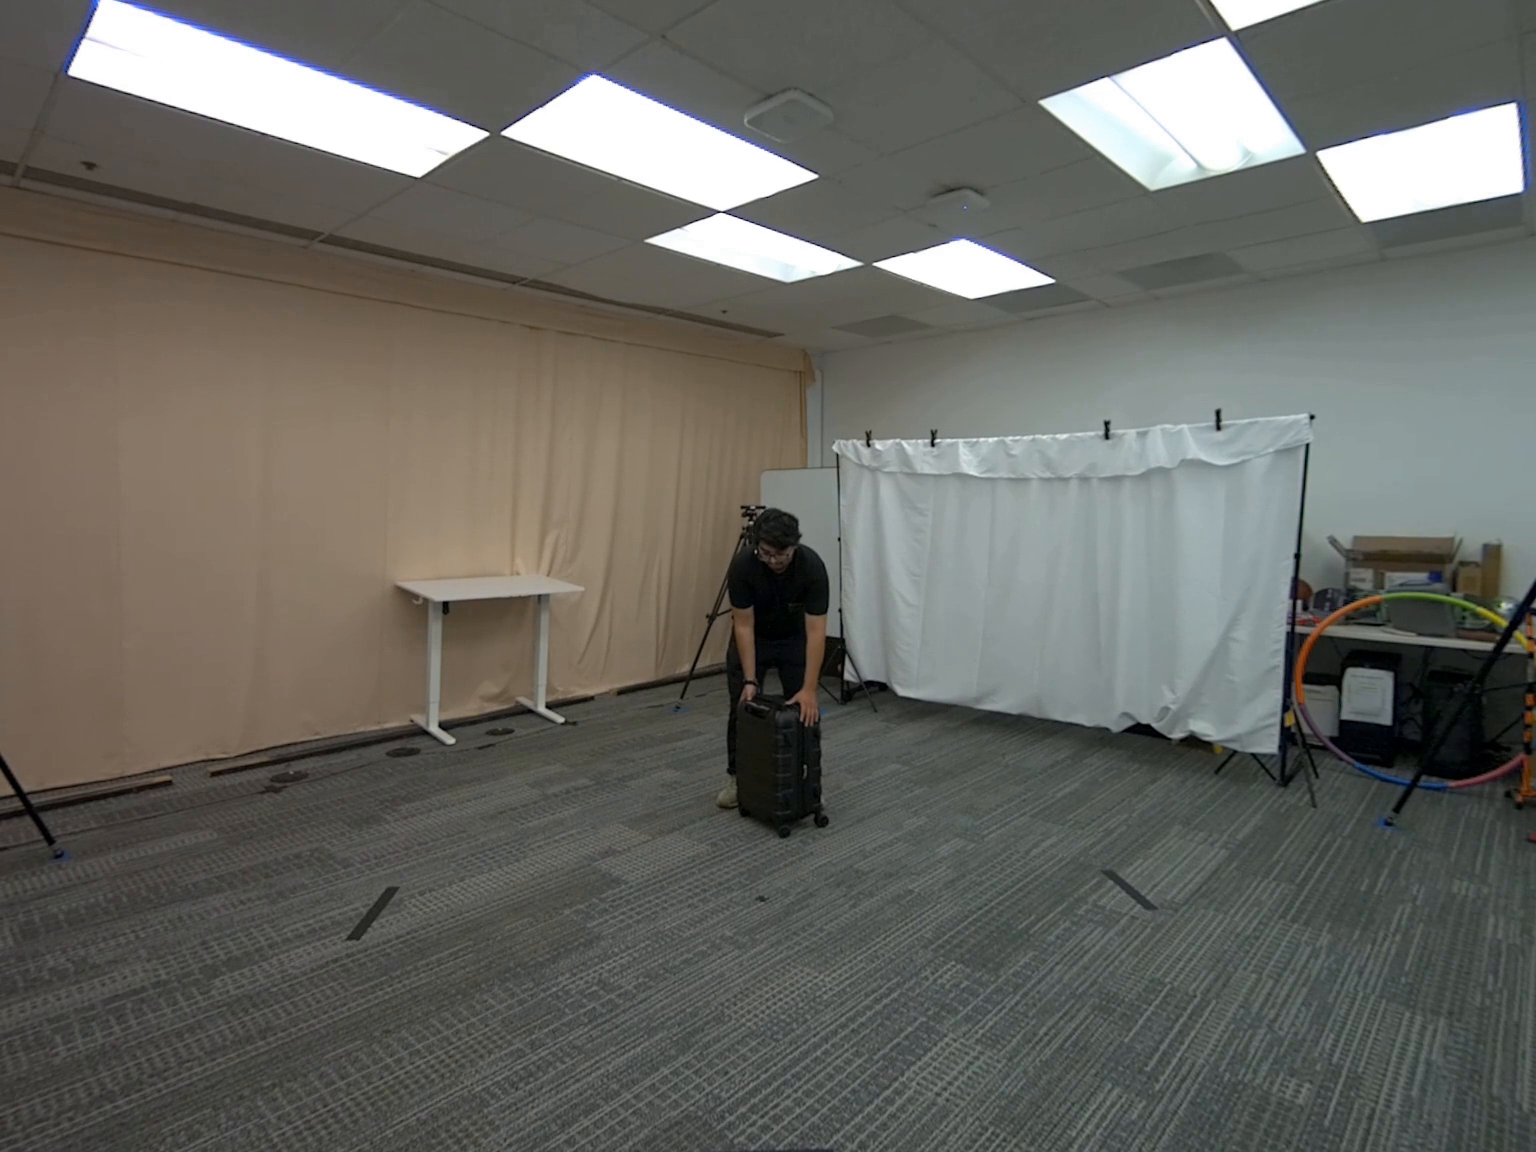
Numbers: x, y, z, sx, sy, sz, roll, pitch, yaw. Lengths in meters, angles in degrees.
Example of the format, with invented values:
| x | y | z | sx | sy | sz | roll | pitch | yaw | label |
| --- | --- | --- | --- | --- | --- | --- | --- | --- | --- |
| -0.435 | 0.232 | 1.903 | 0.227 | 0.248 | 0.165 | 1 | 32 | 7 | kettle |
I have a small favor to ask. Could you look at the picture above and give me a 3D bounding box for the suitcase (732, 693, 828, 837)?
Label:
| x | y | z | sx | sy | sz | roll | pitch | yaw | label |
| --- | --- | --- | --- | --- | --- | --- | --- | --- | --- |
| 0.049 | 0.802 | 3.711 | 0.241 | 0.548 | 0.387 | -3 | 4 | -35 | suitcase |
